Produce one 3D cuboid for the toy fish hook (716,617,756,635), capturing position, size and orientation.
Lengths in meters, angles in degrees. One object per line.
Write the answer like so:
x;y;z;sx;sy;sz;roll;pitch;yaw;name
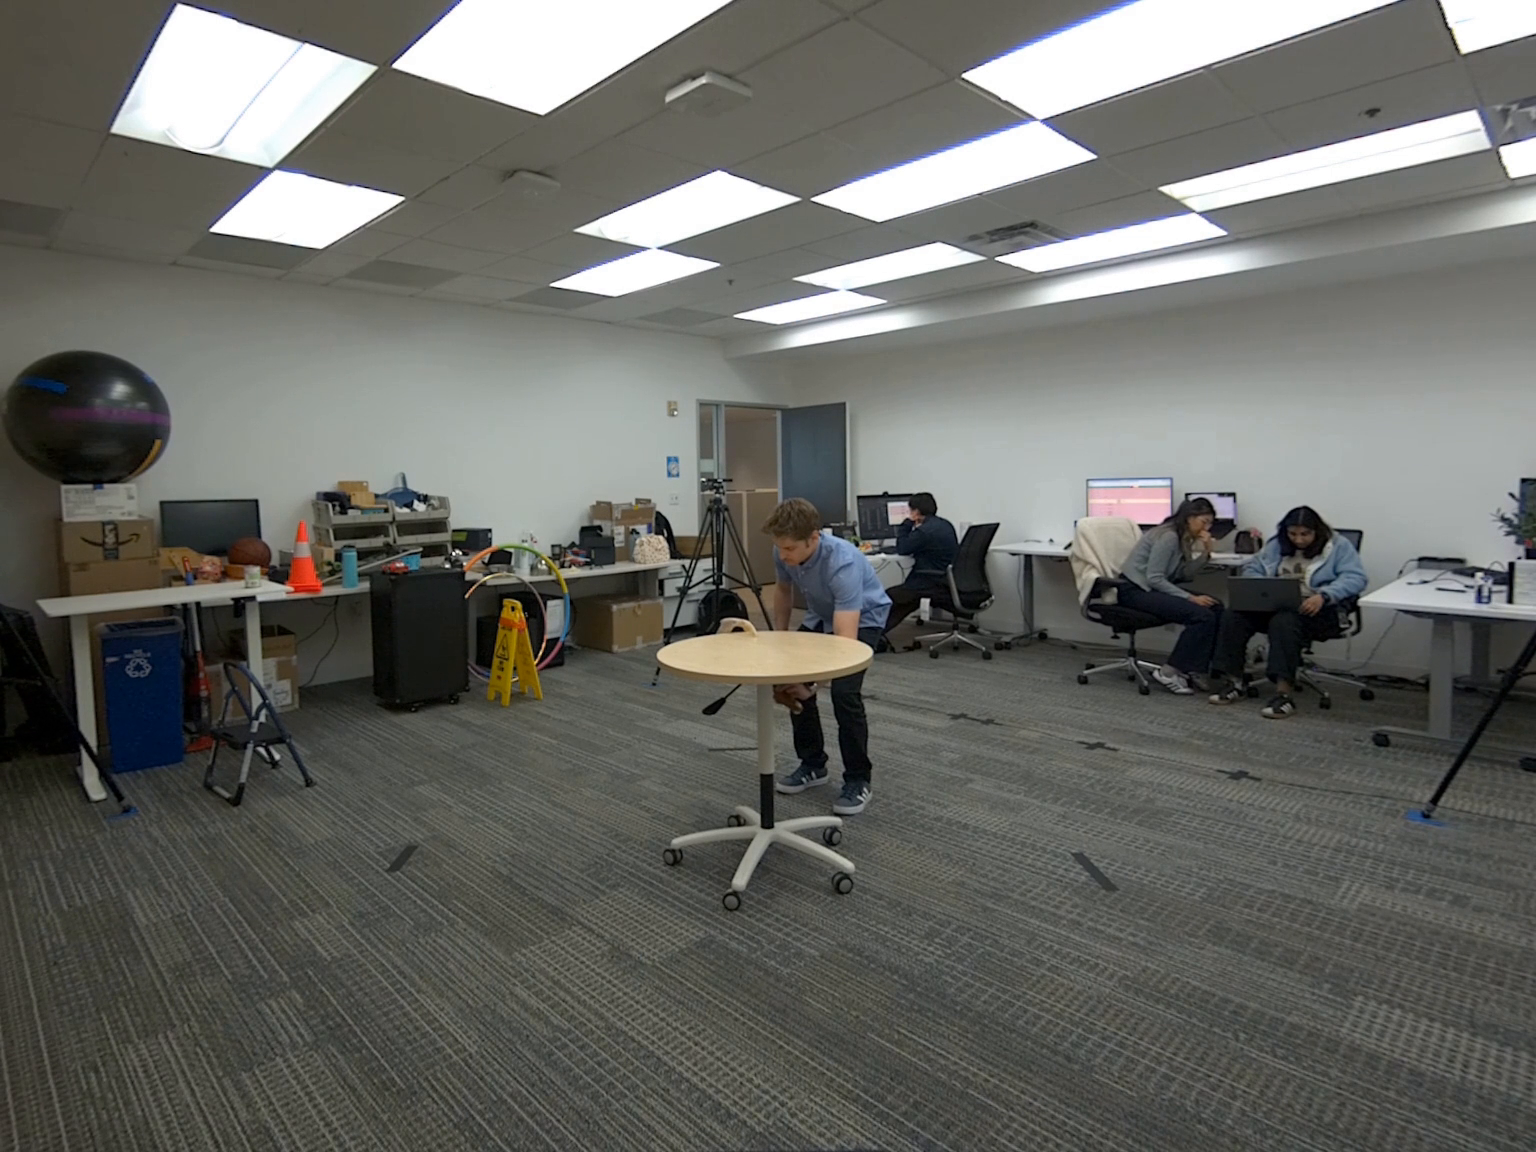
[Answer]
-0.029;0.336;3.309;0.047;0.221;0.526;-10;32;-42;toy fish hook
